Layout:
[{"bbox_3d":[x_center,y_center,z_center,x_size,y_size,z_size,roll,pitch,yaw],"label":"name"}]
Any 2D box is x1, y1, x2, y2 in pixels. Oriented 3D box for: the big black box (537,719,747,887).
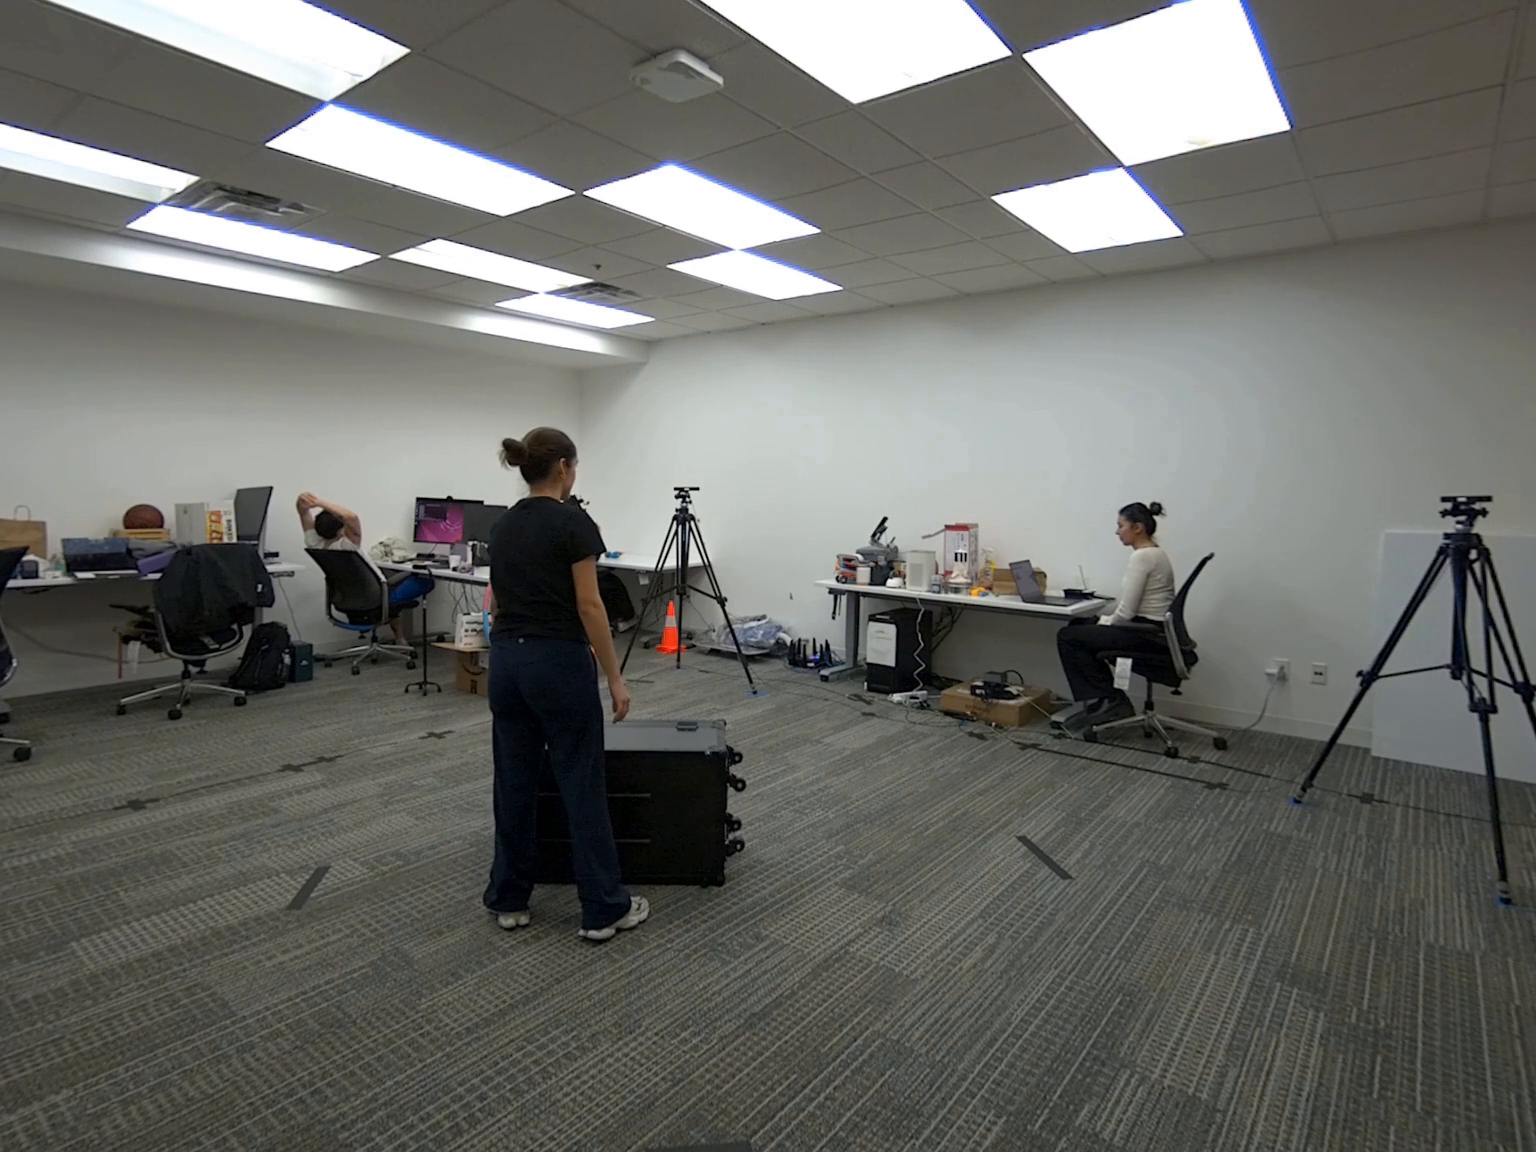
[{"bbox_3d":[-0.500,0.804,3.121,0.861,0.519,0.399,1,6,-1],"label":"big black box"}]
